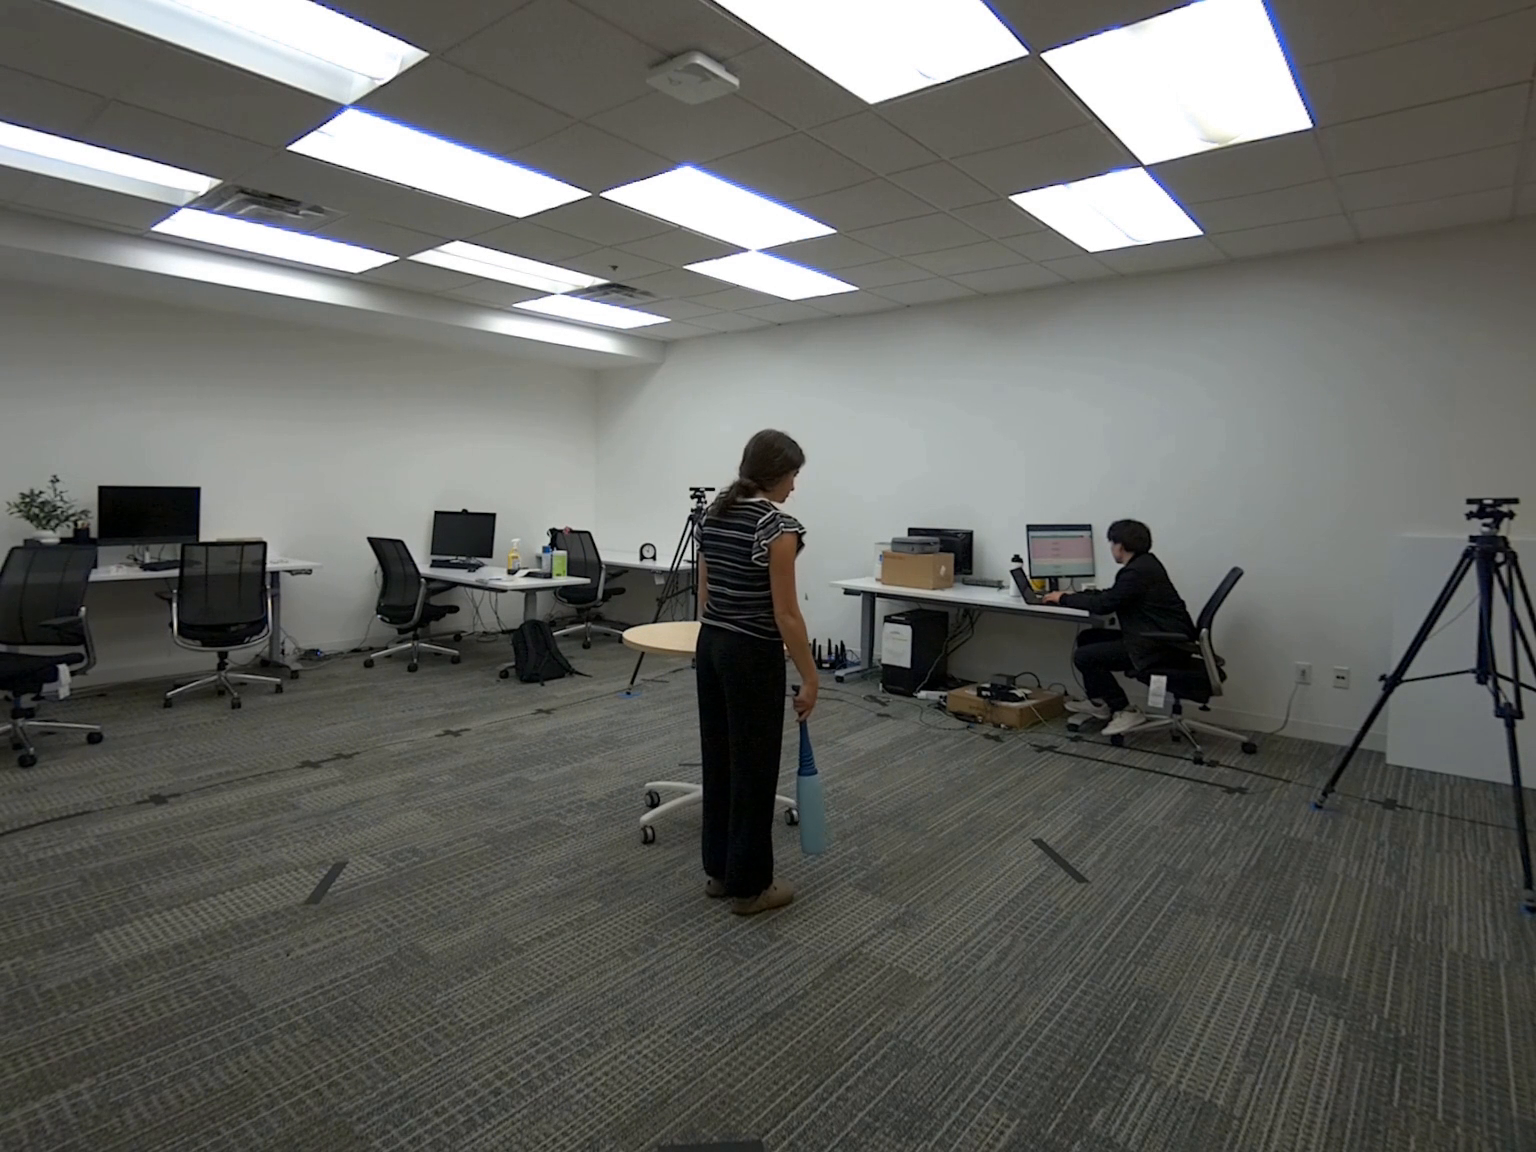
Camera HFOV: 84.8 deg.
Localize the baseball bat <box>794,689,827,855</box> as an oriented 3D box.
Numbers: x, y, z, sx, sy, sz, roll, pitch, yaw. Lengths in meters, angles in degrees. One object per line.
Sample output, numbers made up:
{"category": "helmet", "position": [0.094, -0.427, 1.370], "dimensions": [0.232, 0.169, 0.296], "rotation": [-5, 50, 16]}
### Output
{"category": "baseball bat", "position": [0.142, 0.613, 2.760], "dimensions": [0.089, 0.544, 0.089], "rotation": [-5, -1, -2]}
